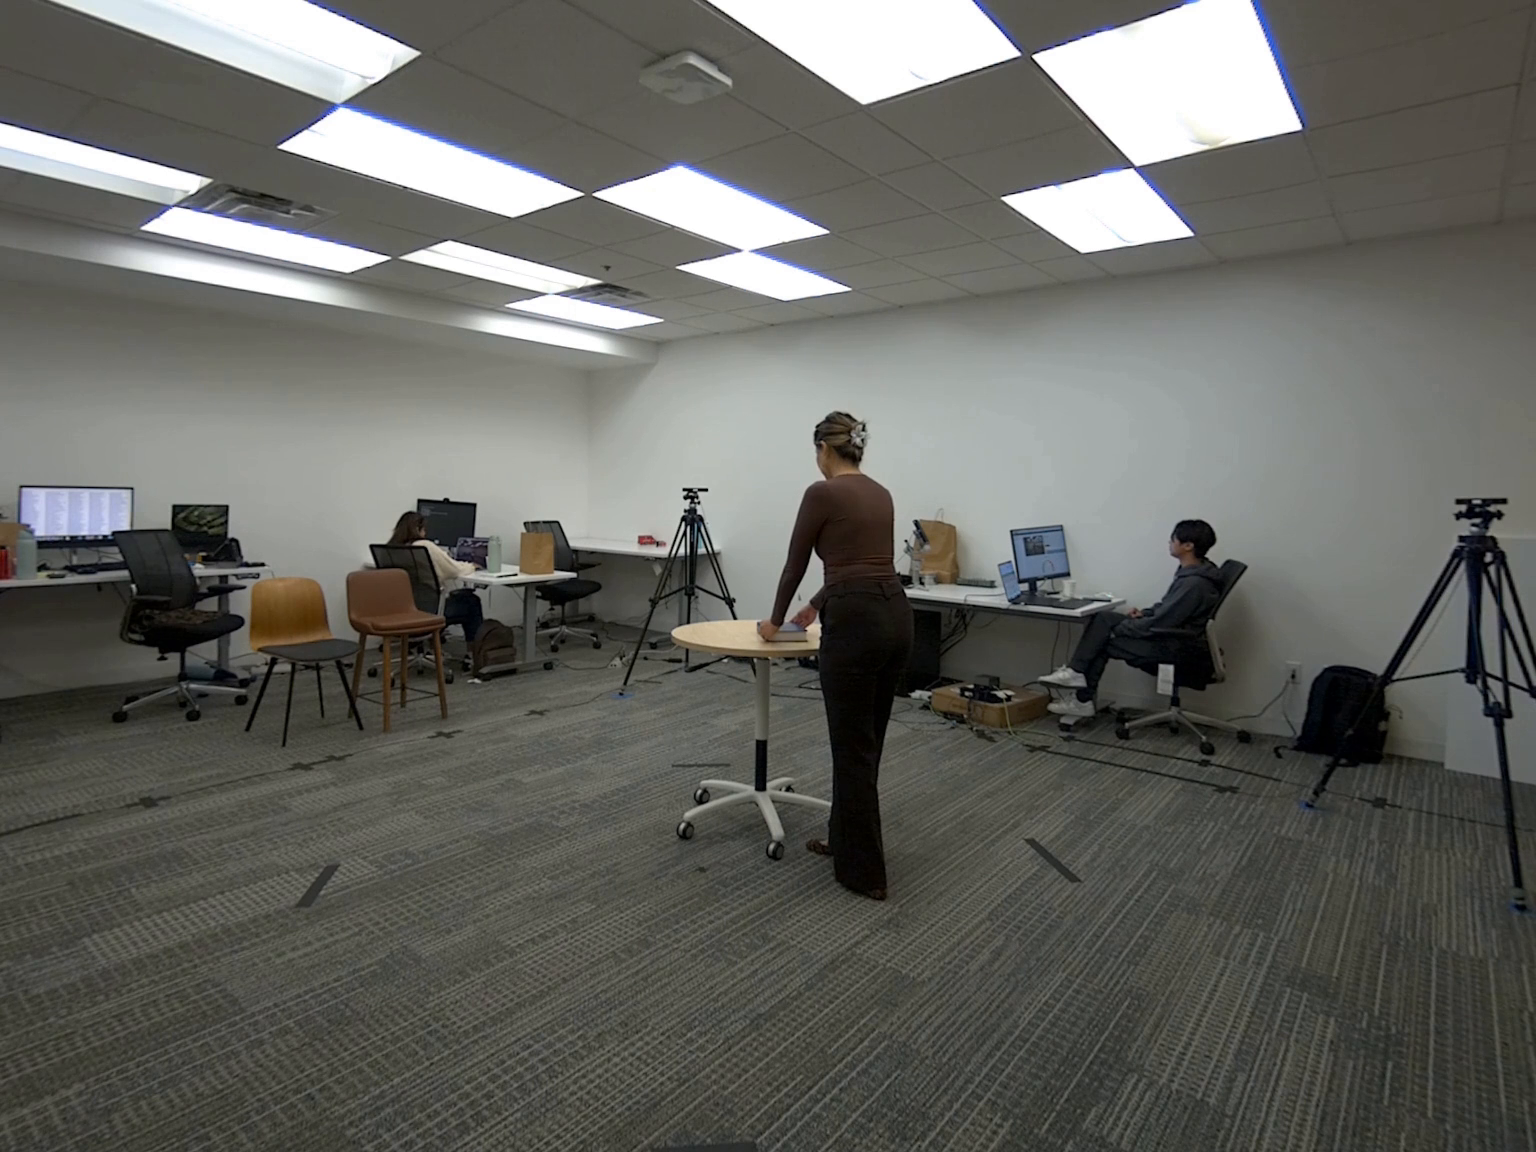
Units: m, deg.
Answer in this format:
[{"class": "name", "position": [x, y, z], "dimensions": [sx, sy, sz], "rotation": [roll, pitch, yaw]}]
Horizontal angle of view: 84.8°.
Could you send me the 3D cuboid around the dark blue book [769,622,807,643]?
[{"class": "dark blue book", "position": [0.047, 0.226, 3.458], "dimensions": [0.162, 0.045, 0.248], "rotation": [1, 6, -8]}]
